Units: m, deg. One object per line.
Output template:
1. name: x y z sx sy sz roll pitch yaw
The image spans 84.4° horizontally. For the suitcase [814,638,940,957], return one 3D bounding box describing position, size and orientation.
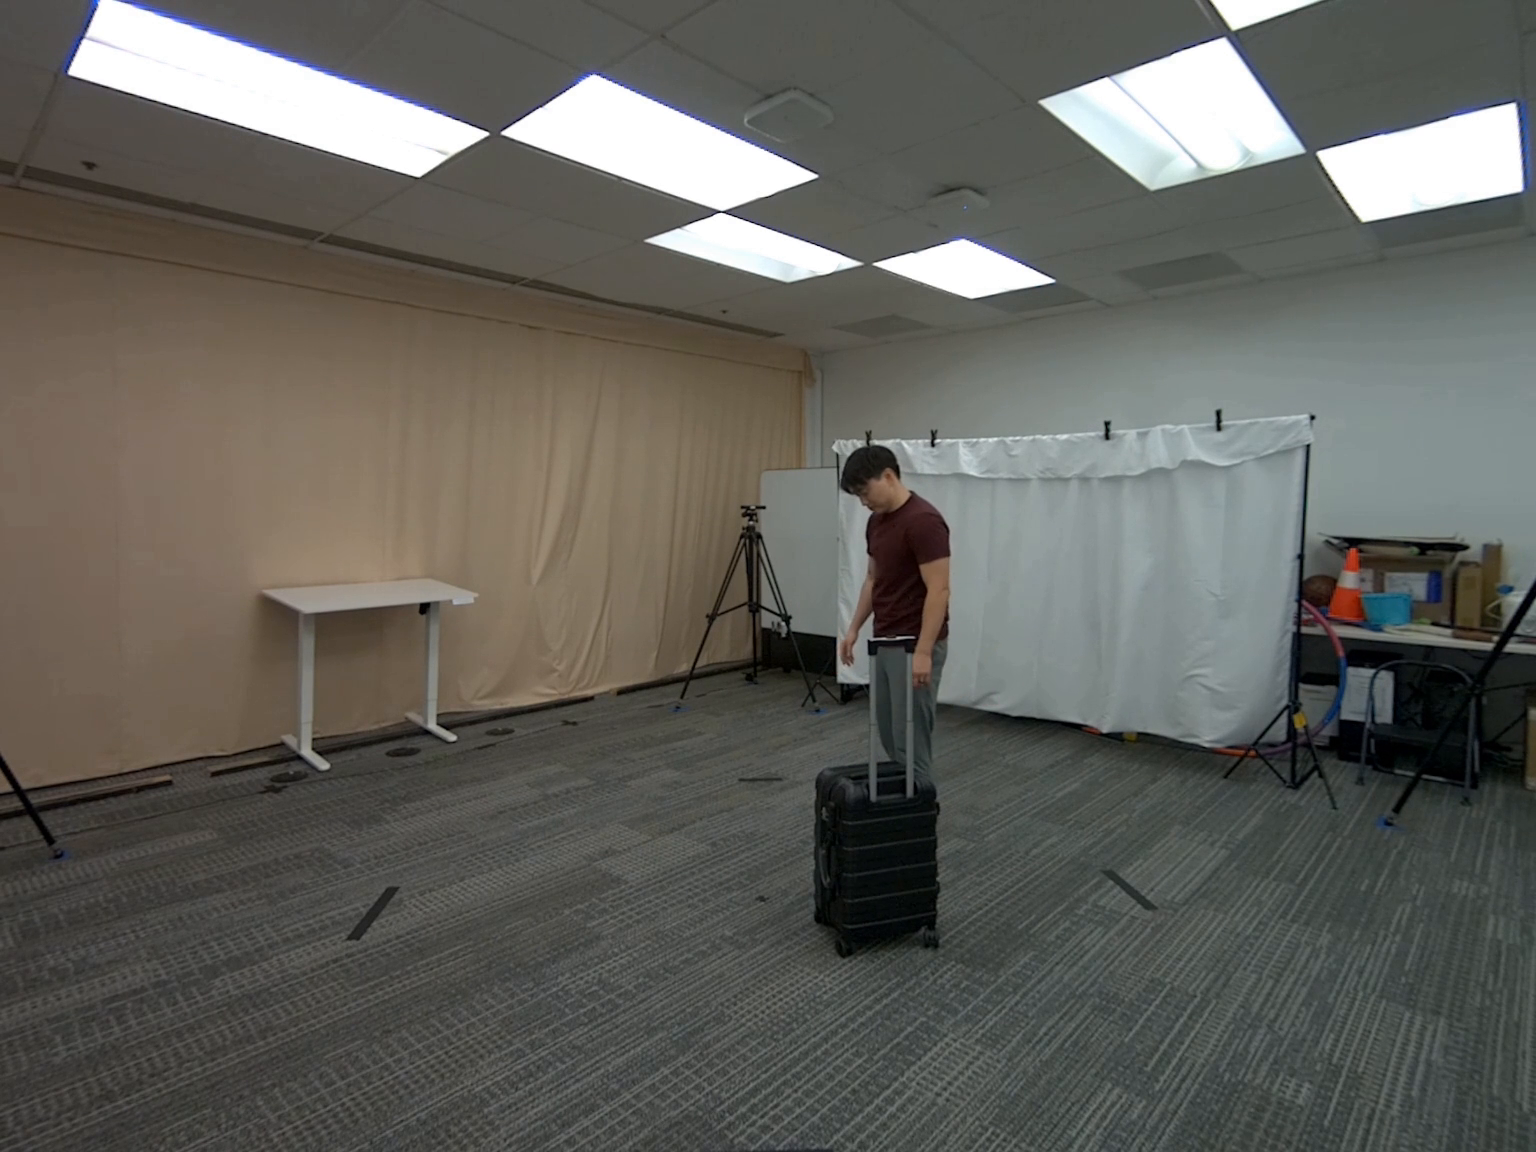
1. suitcase: 0.348 0.689 2.713 0.378 0.977 0.261 0 2 -15
